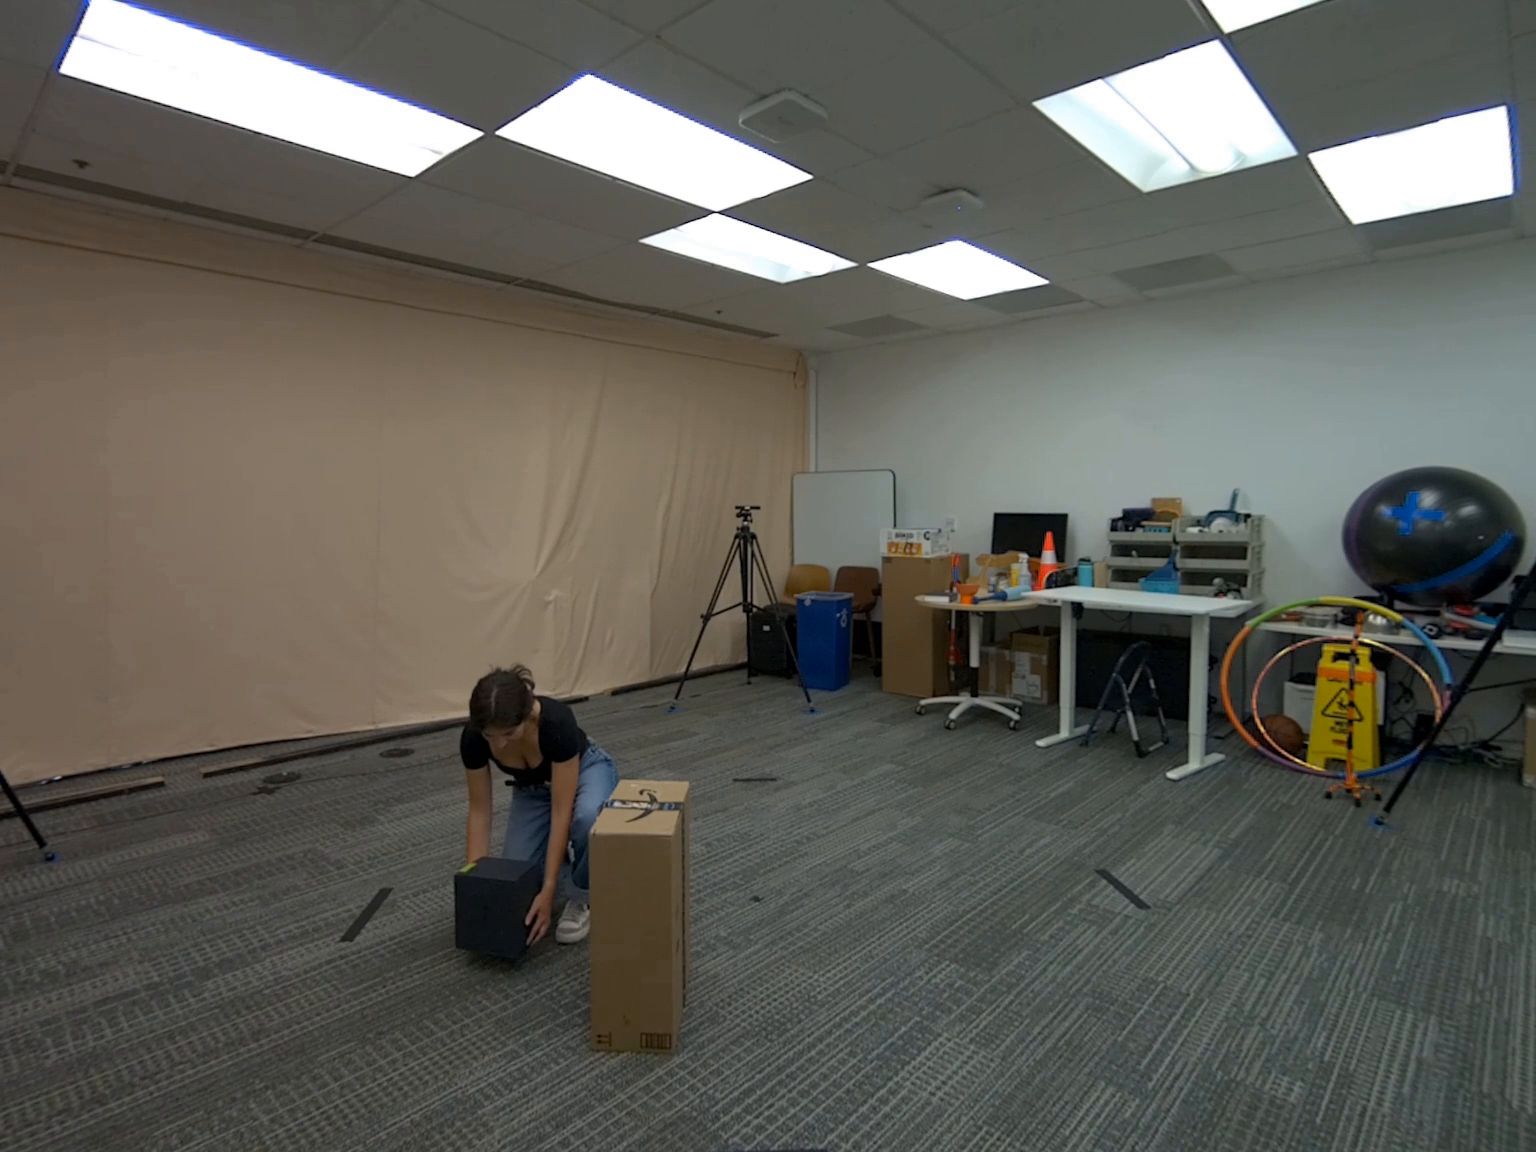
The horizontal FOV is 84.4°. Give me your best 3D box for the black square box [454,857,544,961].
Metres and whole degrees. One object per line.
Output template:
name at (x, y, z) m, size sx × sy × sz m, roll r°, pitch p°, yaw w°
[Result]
black square box at (-0.826, 1.001, 2.597) m, size 0.221 × 0.227 × 0.153 m, roll -1°, pitch 3°, yaw 15°
